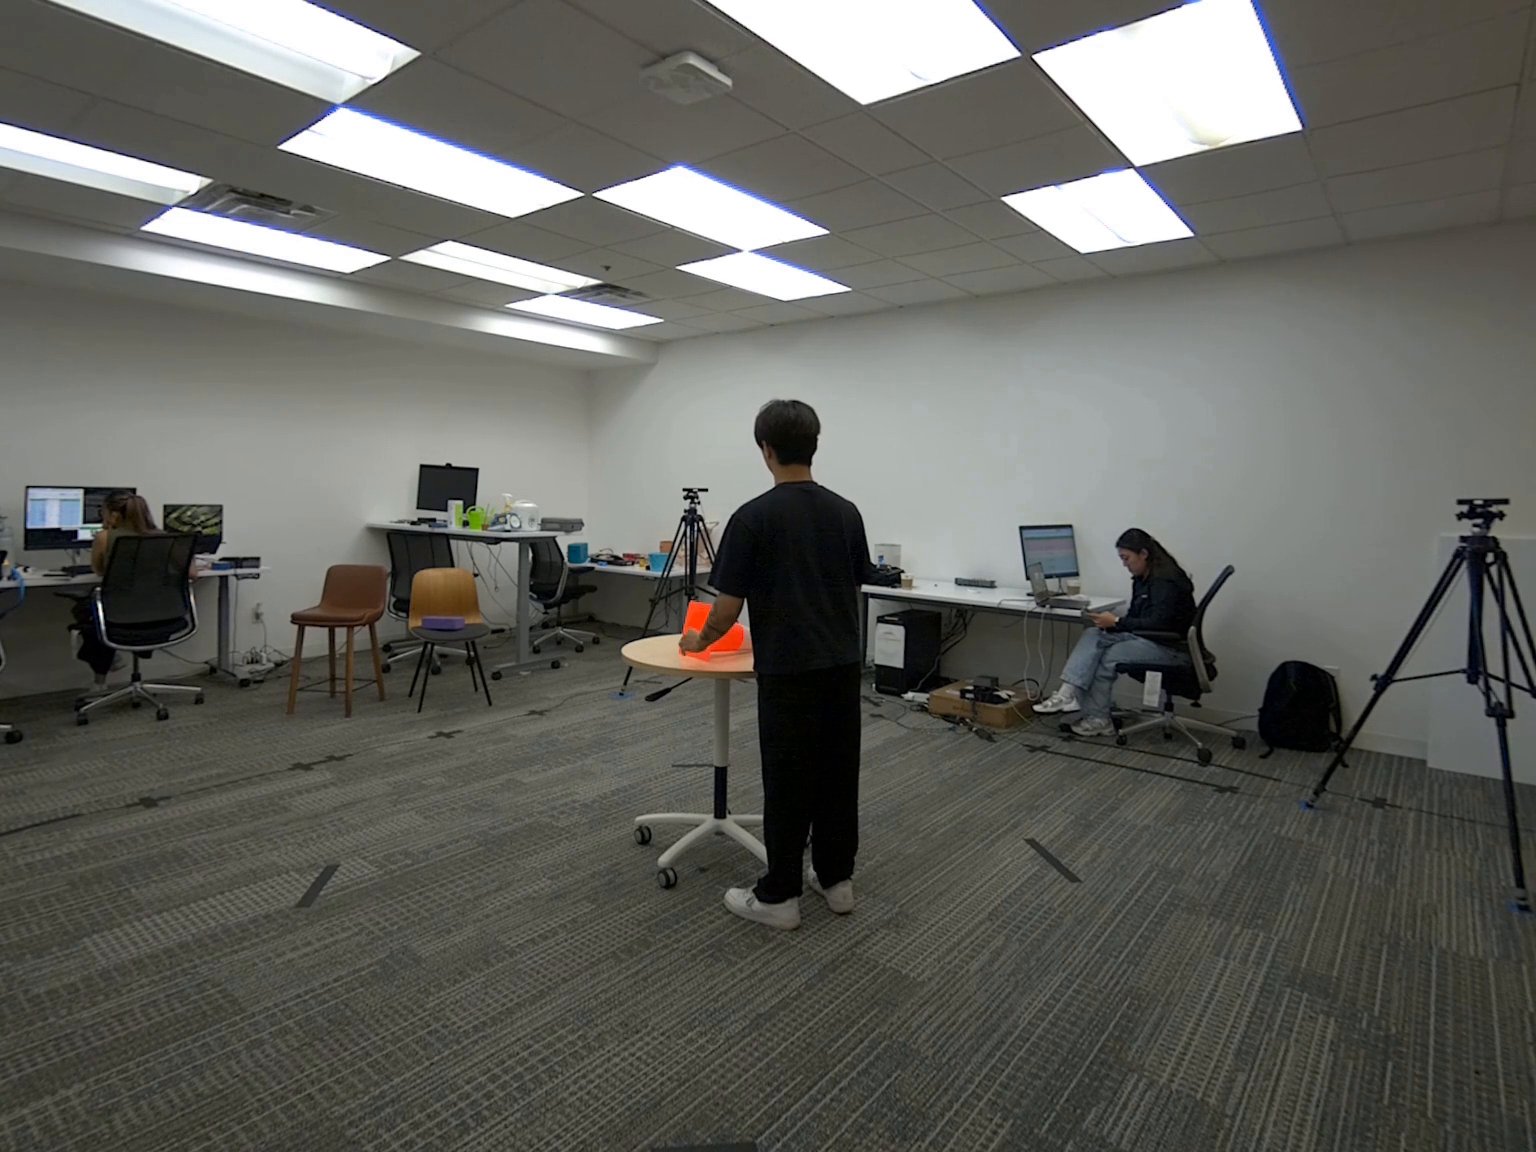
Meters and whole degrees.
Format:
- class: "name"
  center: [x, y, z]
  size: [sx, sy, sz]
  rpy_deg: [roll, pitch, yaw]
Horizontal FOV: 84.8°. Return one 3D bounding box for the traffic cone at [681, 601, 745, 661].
- class: "traffic cone"
  center: [-0.110, 0.228, 3.169]
  size: [0.370, 0.205, 0.210]
  rpy_deg: [12, -4, -37]
